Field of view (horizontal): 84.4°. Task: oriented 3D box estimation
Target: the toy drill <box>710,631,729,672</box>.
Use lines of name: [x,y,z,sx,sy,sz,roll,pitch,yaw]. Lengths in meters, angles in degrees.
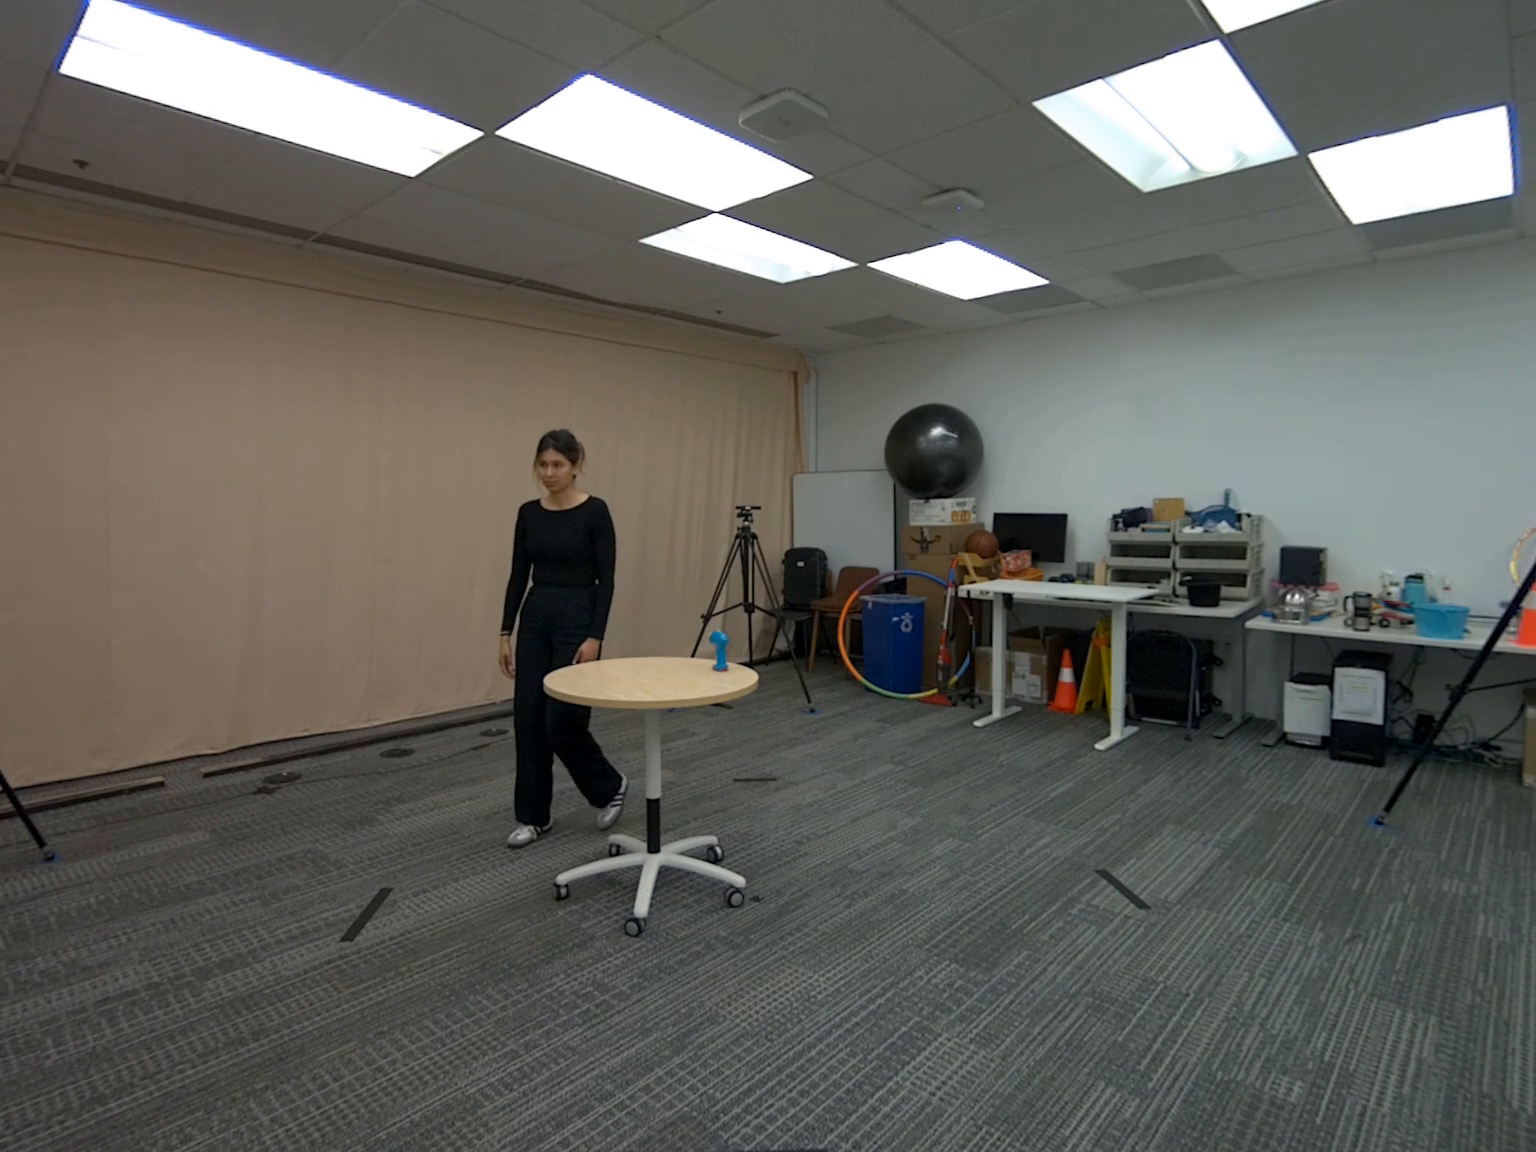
toy drill: [-0.194,0.274,3.168,0.060,0.146,0.174,-1,5,-24]
